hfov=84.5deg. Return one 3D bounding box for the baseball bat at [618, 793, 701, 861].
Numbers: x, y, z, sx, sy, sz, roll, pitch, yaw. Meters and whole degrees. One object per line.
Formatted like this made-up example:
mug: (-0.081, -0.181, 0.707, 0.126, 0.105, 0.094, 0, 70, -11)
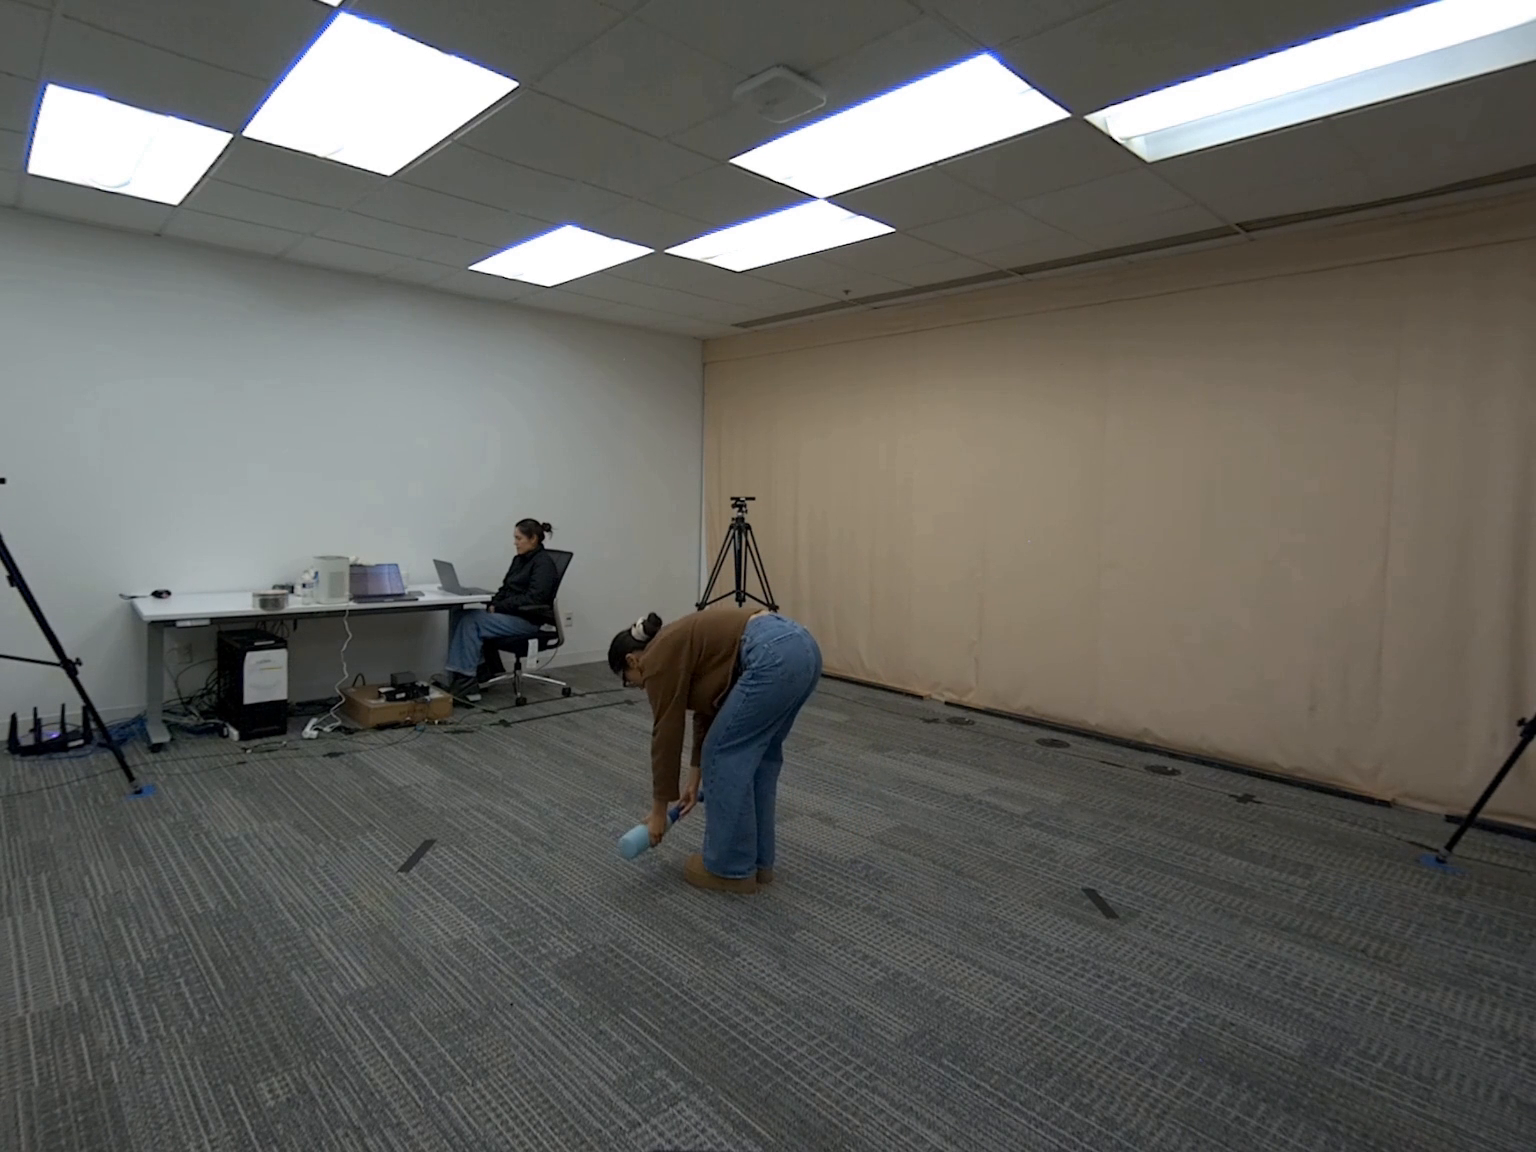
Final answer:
baseball bat: (-0.378, 0.916, 3.186, 0.091, 0.088, 0.534, 4, 9, 28)
